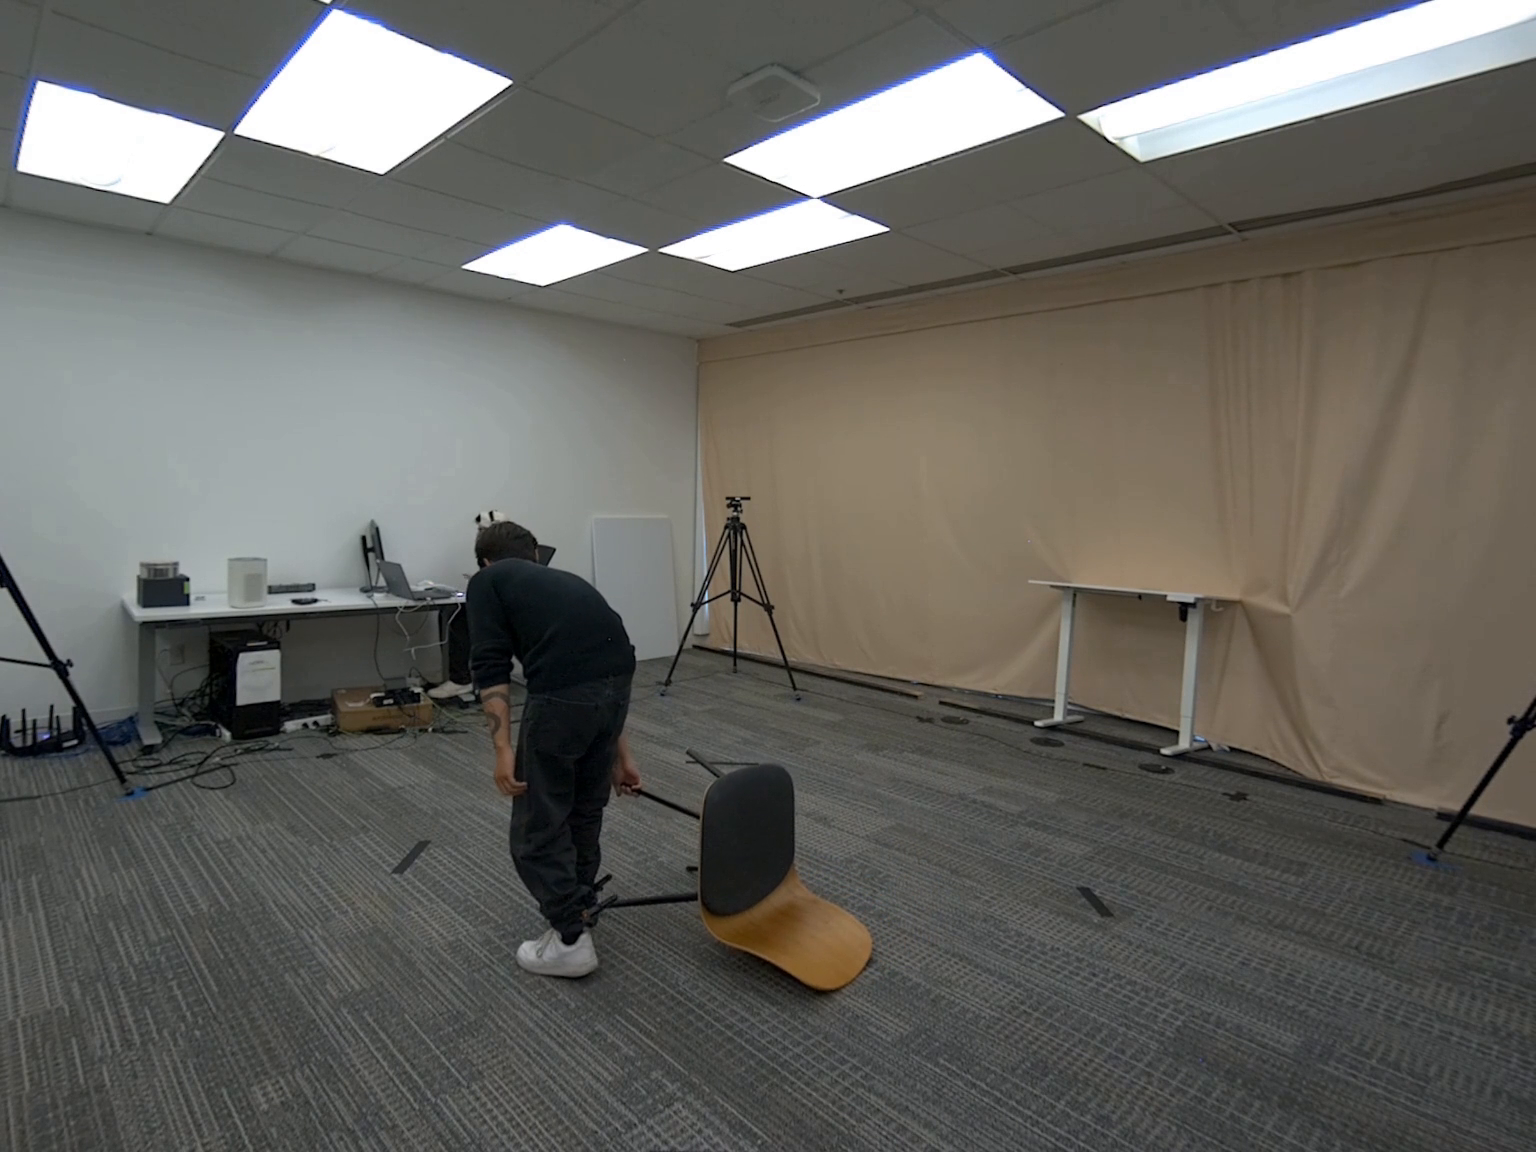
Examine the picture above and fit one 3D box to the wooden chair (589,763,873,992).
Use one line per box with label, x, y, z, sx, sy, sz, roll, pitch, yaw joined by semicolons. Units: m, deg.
wooden chair;-0.099;0.884;2.698;0.900;0.522;0.467;7;4;39
